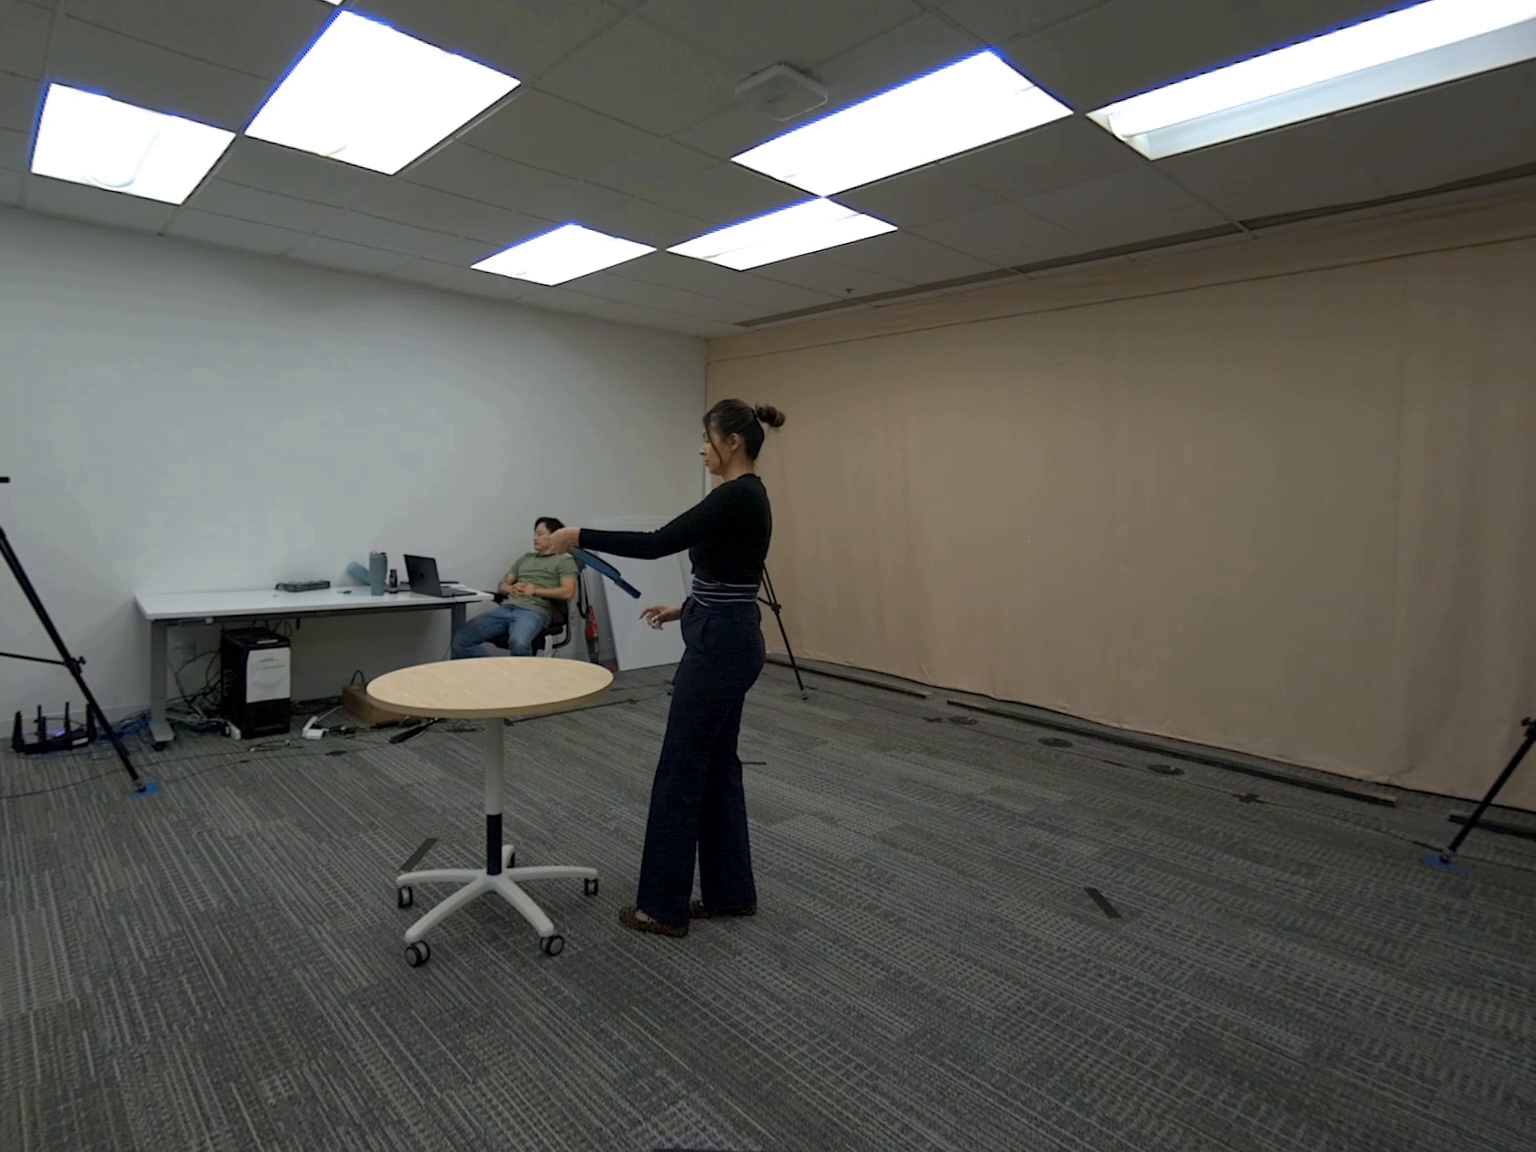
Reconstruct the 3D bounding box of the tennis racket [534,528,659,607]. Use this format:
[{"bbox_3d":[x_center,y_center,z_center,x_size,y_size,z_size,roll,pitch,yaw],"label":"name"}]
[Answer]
[{"bbox_3d":[-0.542,-0.021,2.713,0.219,0.032,0.420,20,-14,31],"label":"tennis racket"}]
